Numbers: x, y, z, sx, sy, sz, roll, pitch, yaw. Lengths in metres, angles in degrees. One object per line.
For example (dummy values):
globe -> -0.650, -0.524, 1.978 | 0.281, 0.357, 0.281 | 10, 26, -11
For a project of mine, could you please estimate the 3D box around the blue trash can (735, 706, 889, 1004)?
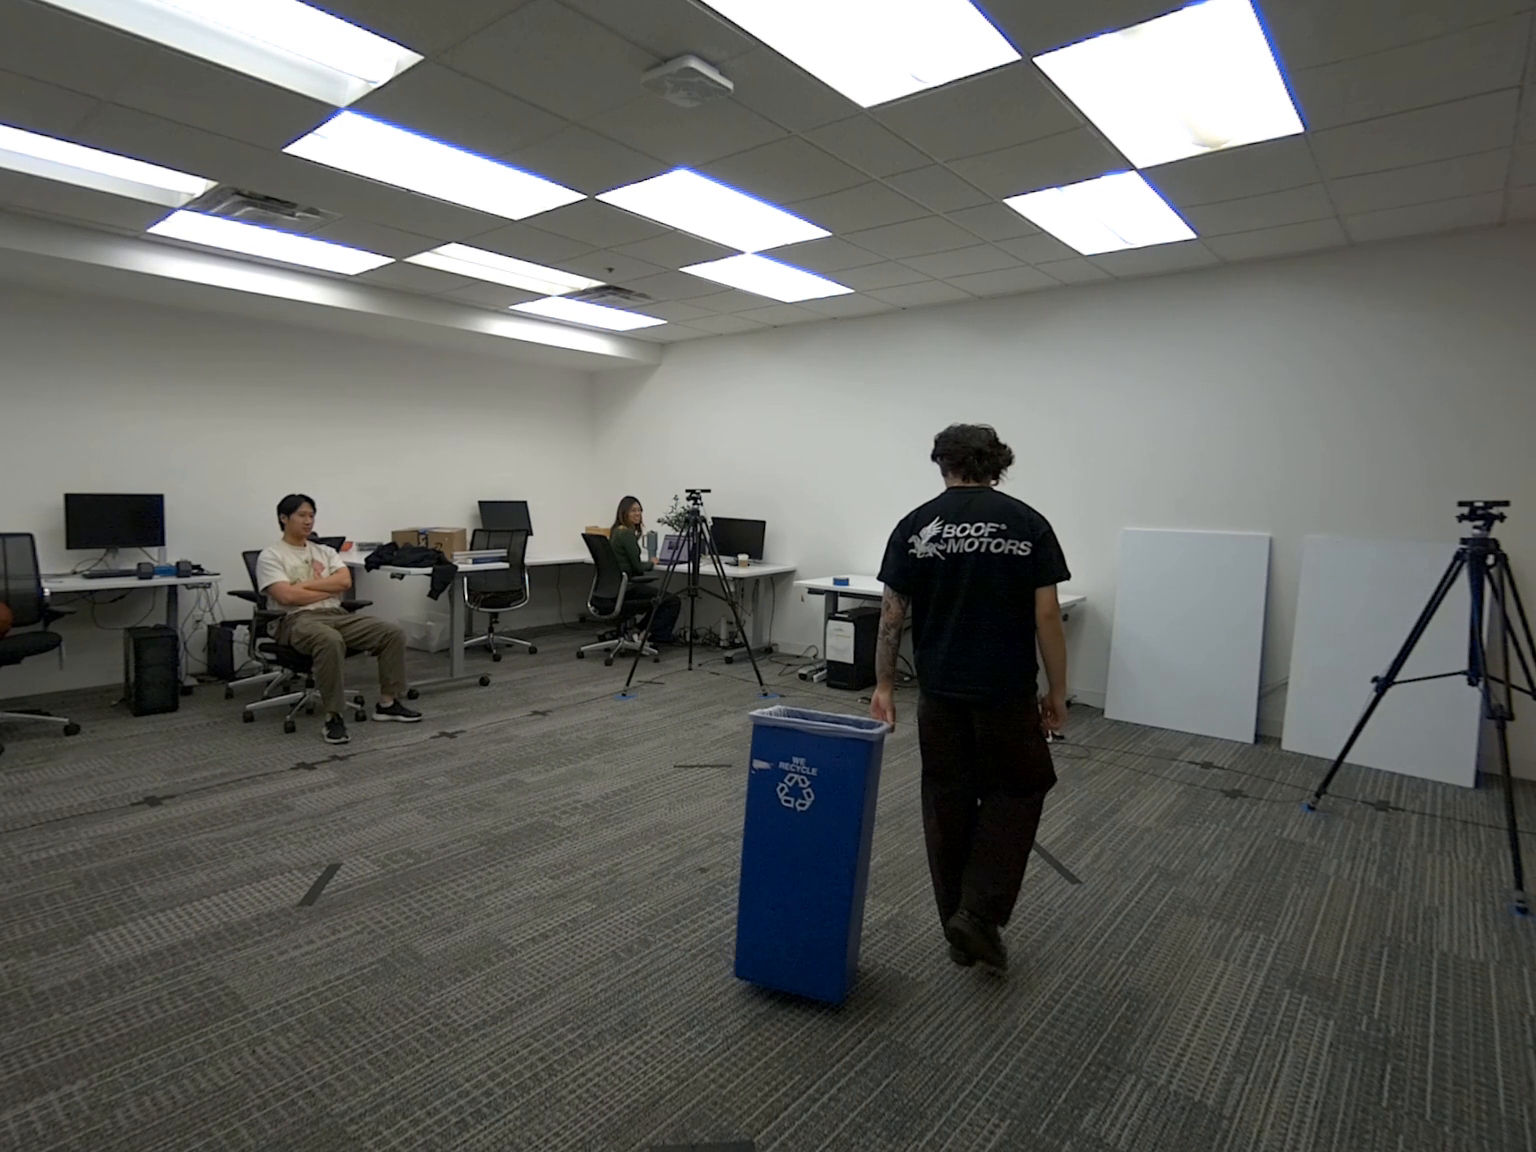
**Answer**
blue trash can -> 0.128, 0.768, 2.461 | 0.381, 0.717, 0.369 | 3, -6, 16
